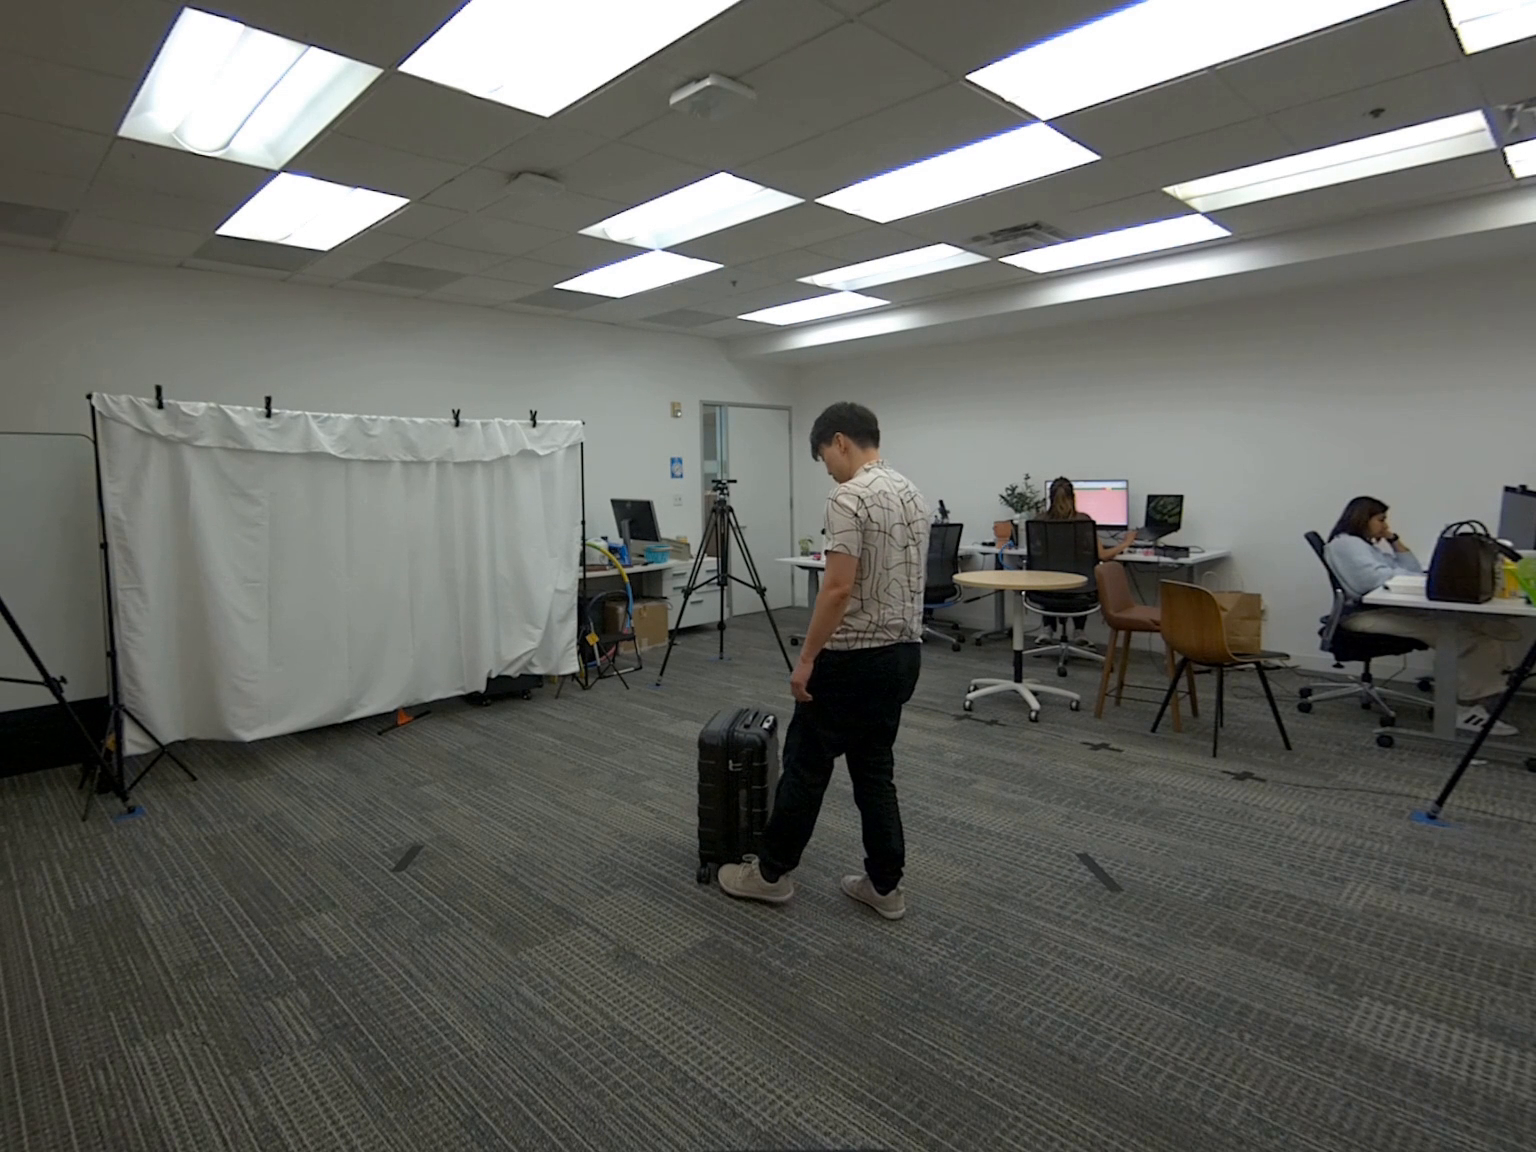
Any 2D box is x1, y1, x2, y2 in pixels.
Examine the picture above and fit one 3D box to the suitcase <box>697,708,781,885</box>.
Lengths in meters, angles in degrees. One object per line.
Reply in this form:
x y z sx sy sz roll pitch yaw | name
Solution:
-0.101 0.772 3.096 0.251 0.547 0.372 -1 4 11 | suitcase
